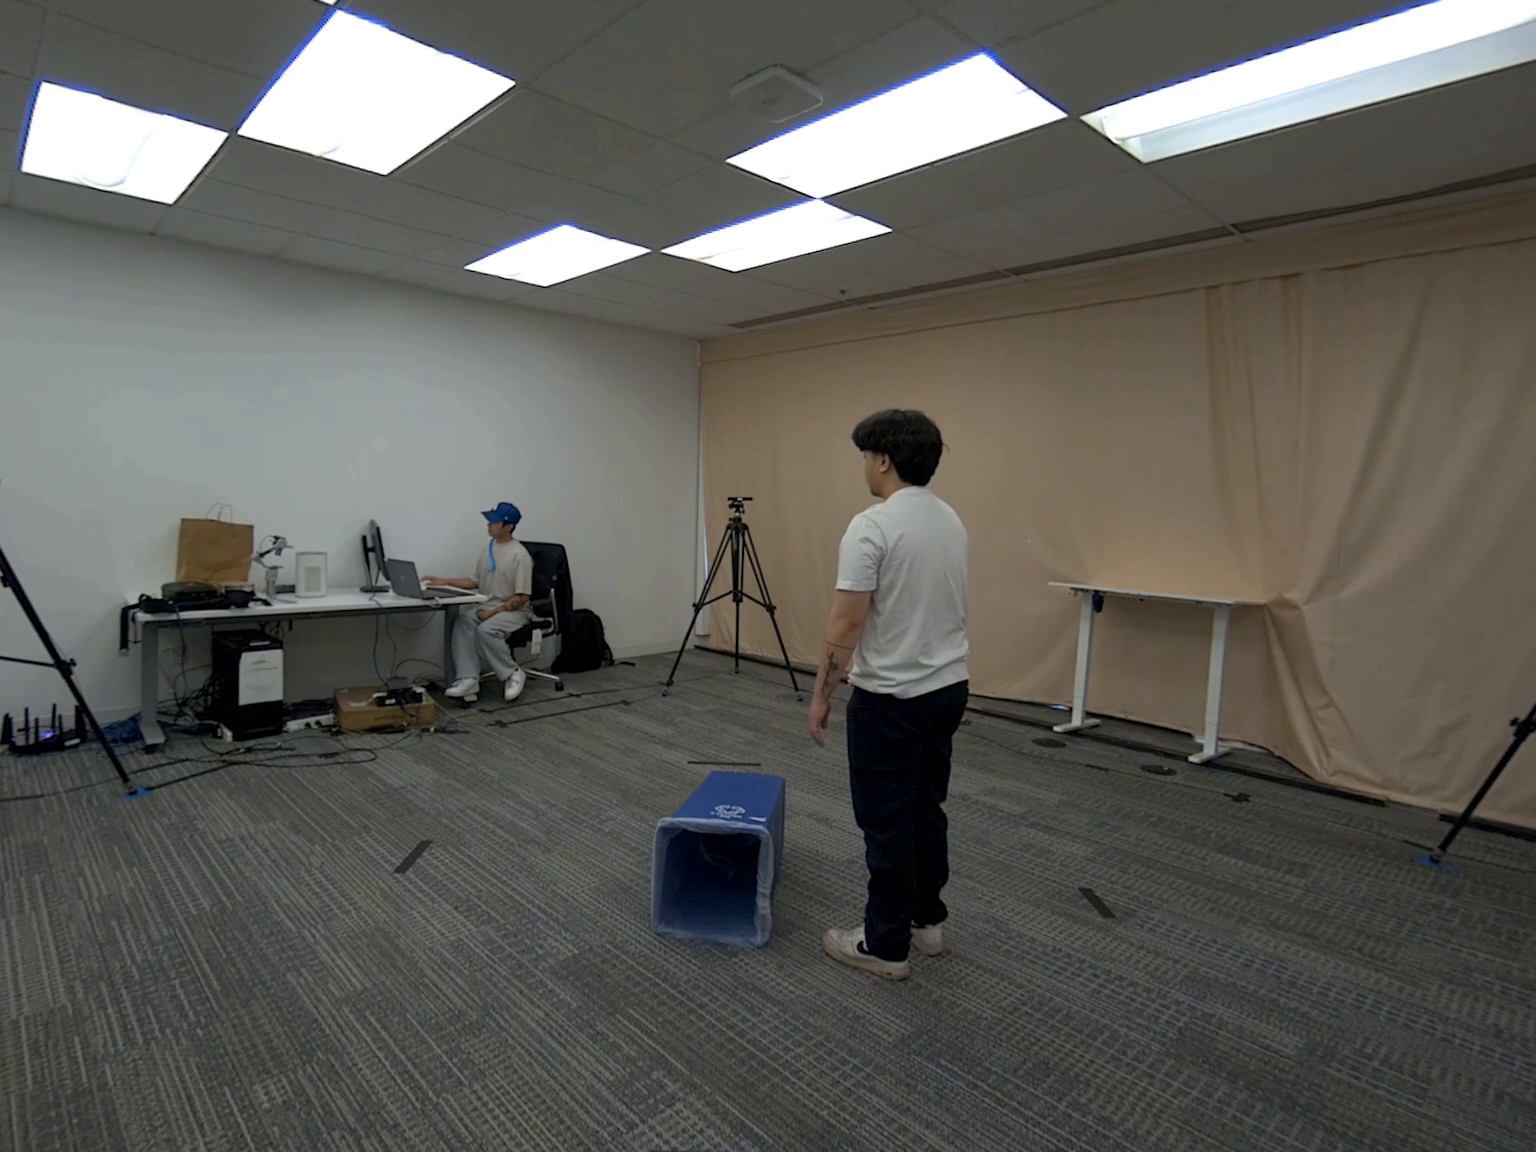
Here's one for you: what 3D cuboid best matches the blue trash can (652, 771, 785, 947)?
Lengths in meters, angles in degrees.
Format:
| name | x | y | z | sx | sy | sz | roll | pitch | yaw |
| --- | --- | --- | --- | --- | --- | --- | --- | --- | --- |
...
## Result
| name | x | y | z | sx | sy | sz | roll | pitch | yaw |
| --- | --- | --- | --- | --- | --- | --- | --- | --- | --- |
| blue trash can | -0.144 | 0.952 | 2.987 | 0.377 | 0.378 | 0.709 | 1 | 2 | 8 |
